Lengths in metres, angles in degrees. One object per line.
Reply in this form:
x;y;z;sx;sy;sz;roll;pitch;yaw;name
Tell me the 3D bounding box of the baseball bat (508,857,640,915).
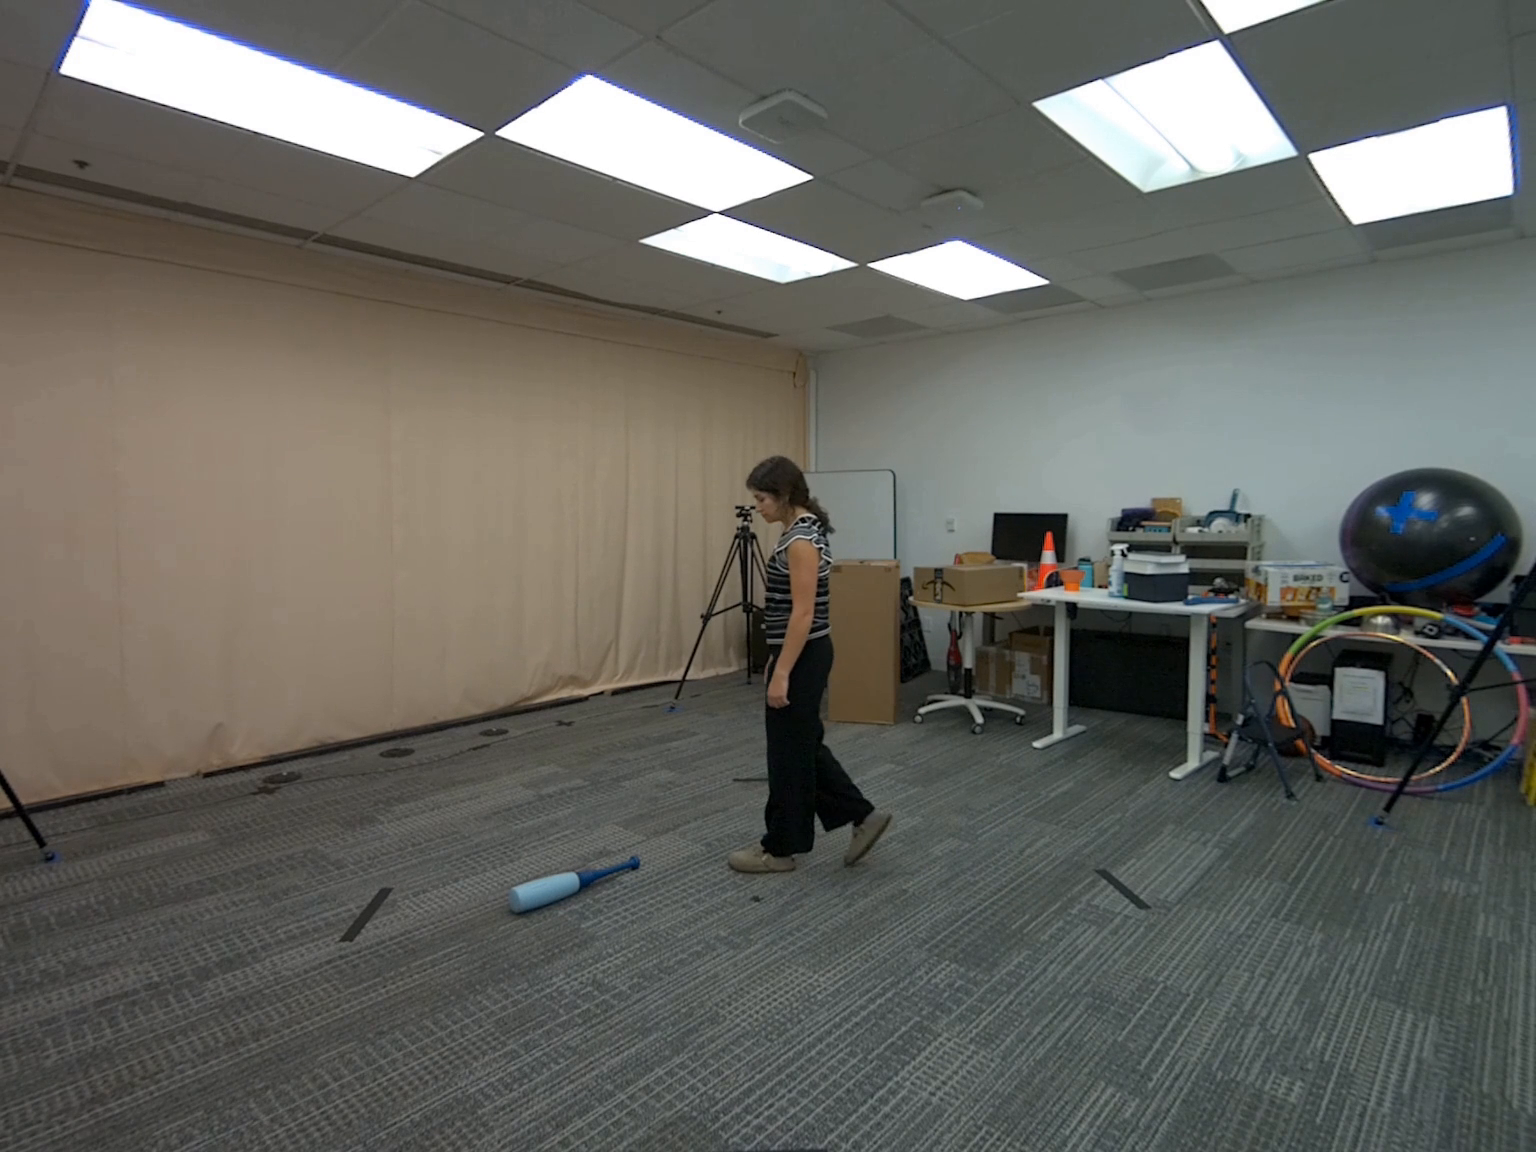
-0.689;1.108;3.060;0.092;0.089;0.525;4;2;44;baseball bat
